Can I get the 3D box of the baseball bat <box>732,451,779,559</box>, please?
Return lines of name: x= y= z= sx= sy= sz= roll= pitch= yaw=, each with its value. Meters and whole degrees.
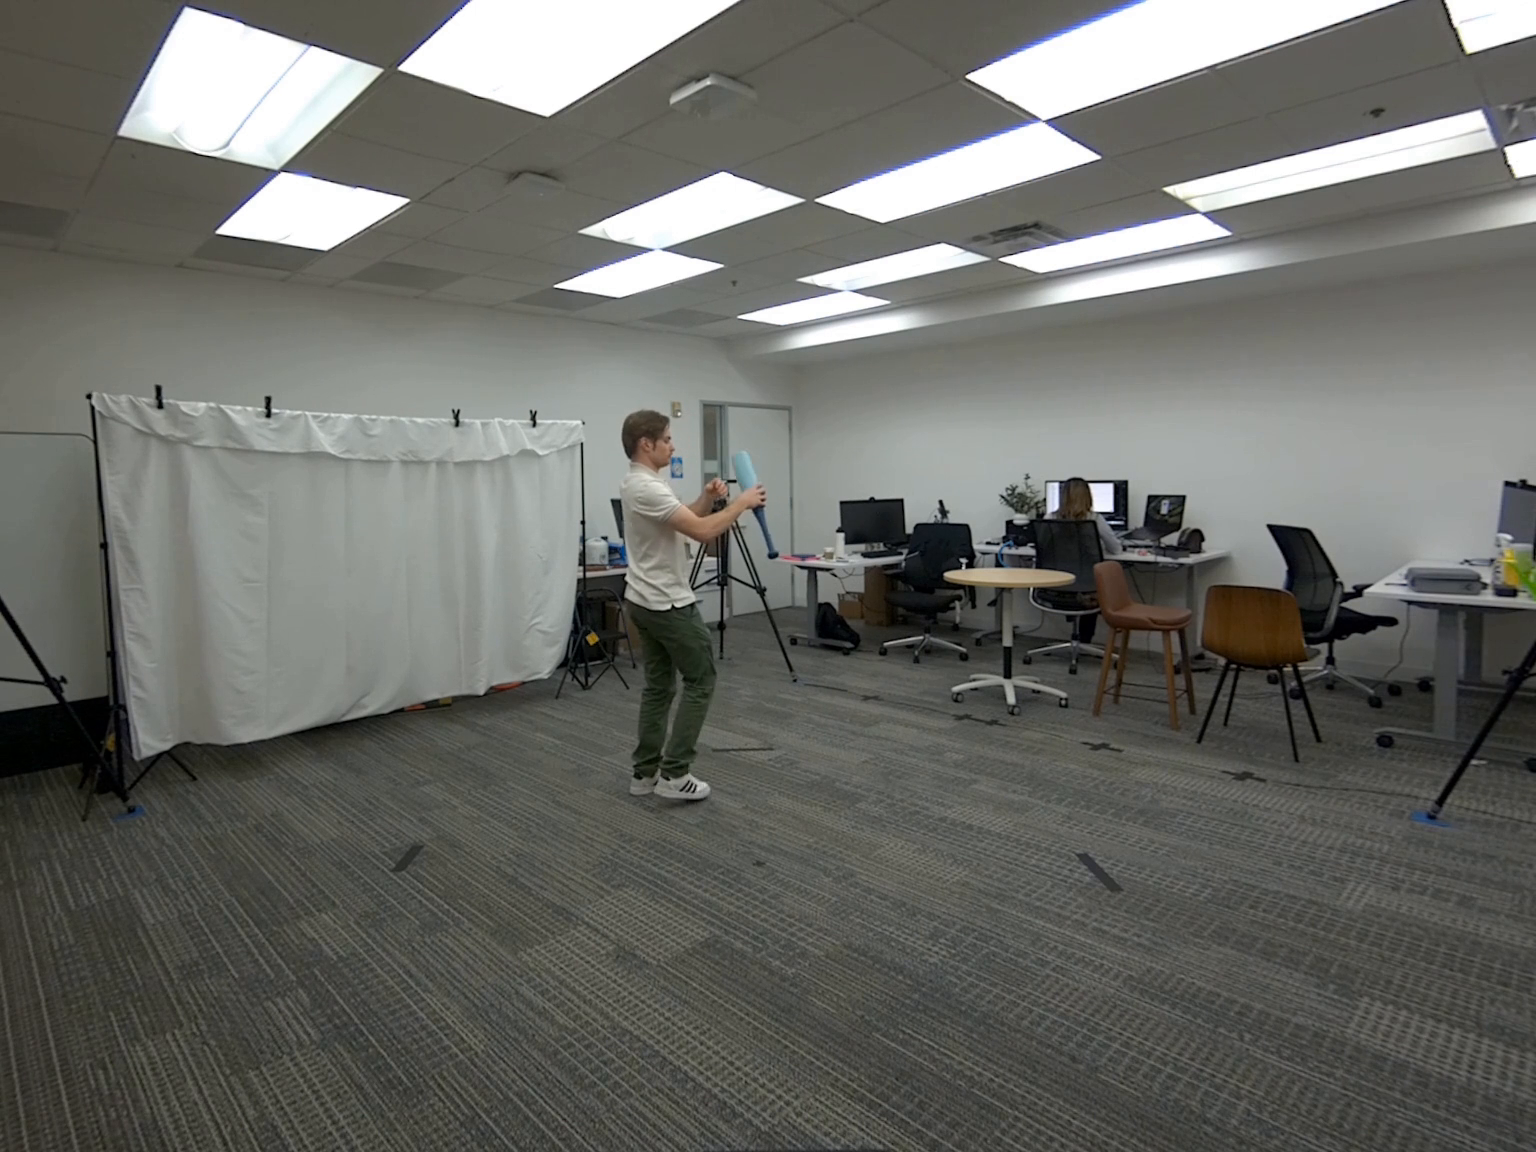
baseball bat: x=-0.057 y=-0.311 z=3.764 sx=0.088 sy=0.558 sz=0.087 roll=-15 pitch=-26 yaw=-9
